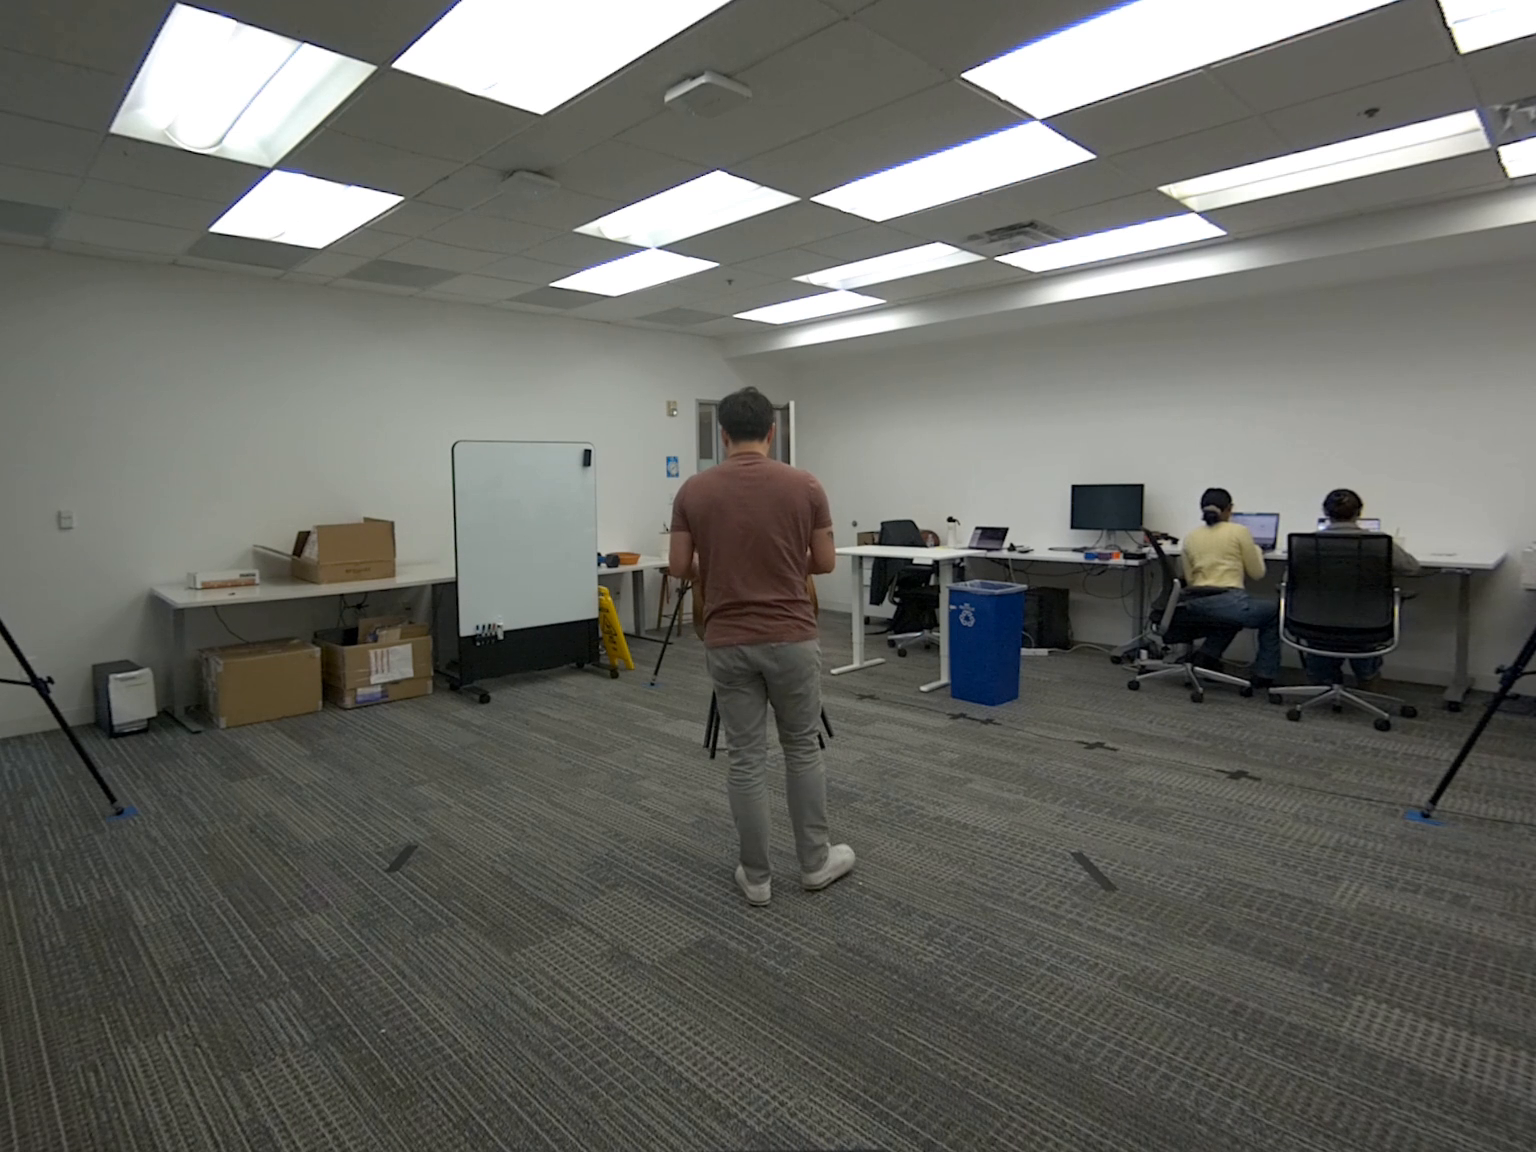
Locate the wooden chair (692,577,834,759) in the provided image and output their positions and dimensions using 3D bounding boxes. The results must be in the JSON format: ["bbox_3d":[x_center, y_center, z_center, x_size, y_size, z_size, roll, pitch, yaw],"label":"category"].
[{"bbox_3d":[-0.046,0.234,3.275,0.478,0.890,0.516,-6,-13,-2],"label":"wooden chair"}]
